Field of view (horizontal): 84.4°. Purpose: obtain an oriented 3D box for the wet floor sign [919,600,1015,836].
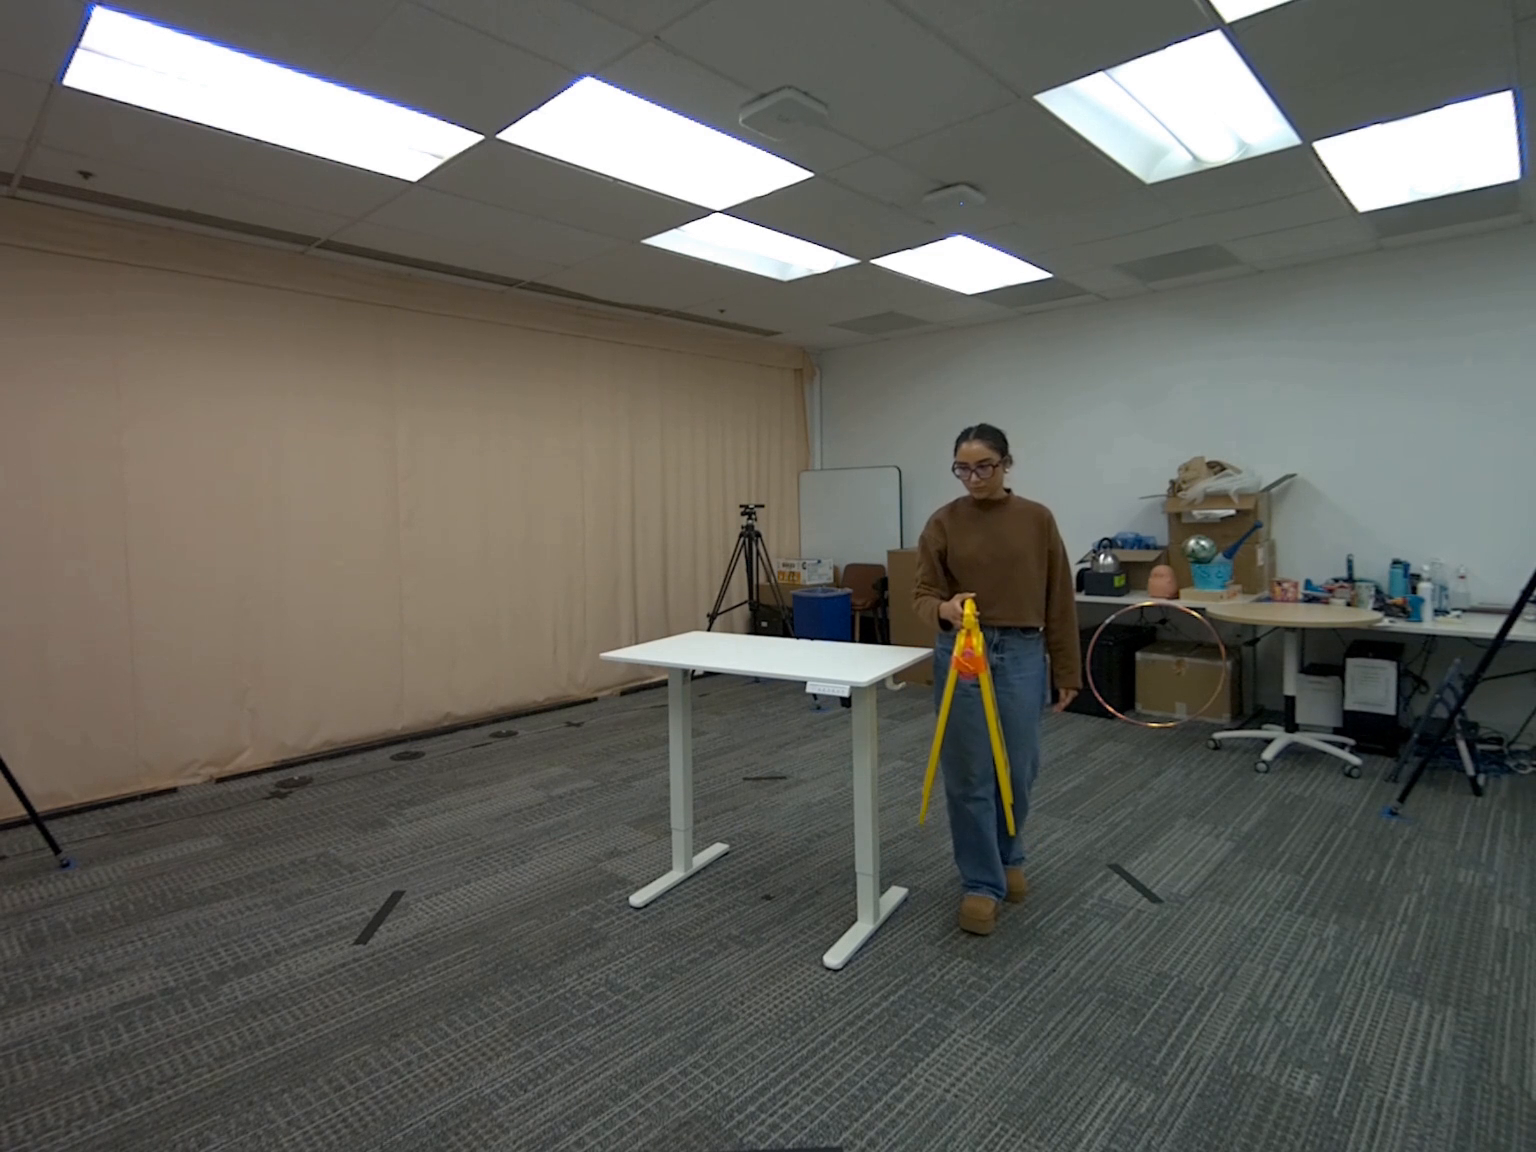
[{"bbox_3d":[0.609,0.407,2.528,0.295,0.642,0.279,1,9,15],"label":"wet floor sign"}]
